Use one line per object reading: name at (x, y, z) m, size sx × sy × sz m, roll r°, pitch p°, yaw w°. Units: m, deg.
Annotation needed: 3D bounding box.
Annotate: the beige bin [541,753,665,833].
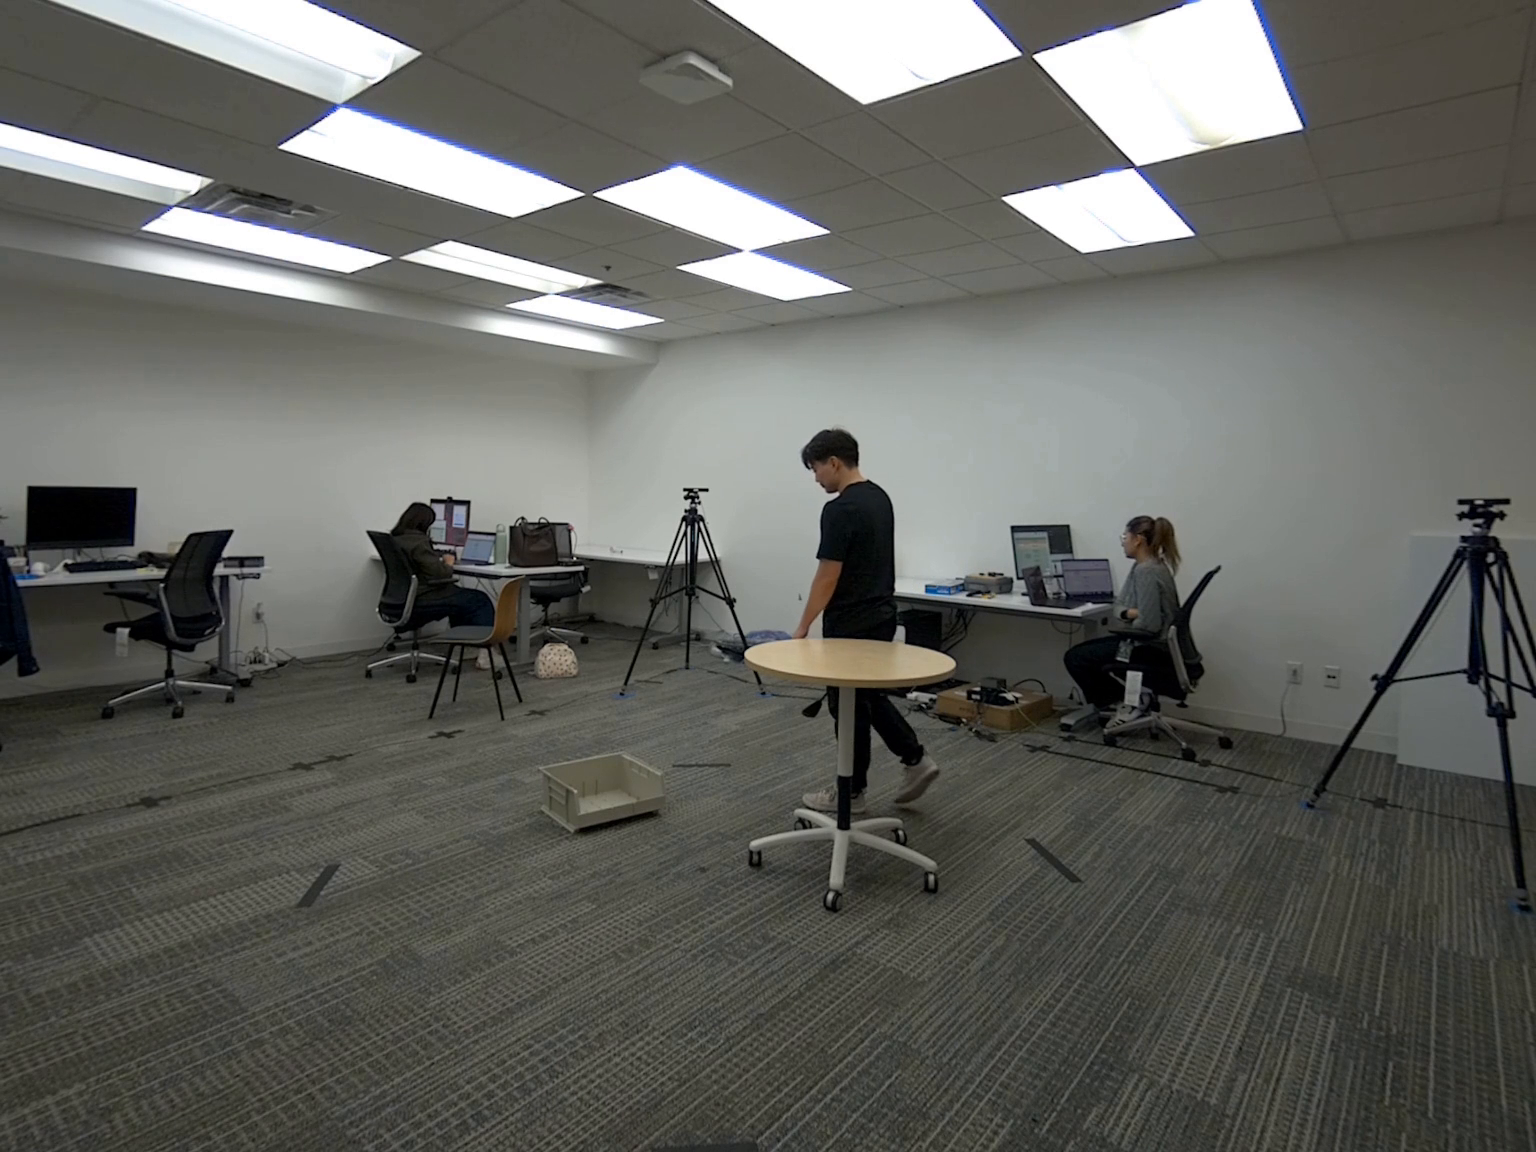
beige bin at (-0.725, 0.923, 3.643) m, size 0.410 × 0.188 × 0.390 m, roll -4°, pitch 6°, yaw -37°
